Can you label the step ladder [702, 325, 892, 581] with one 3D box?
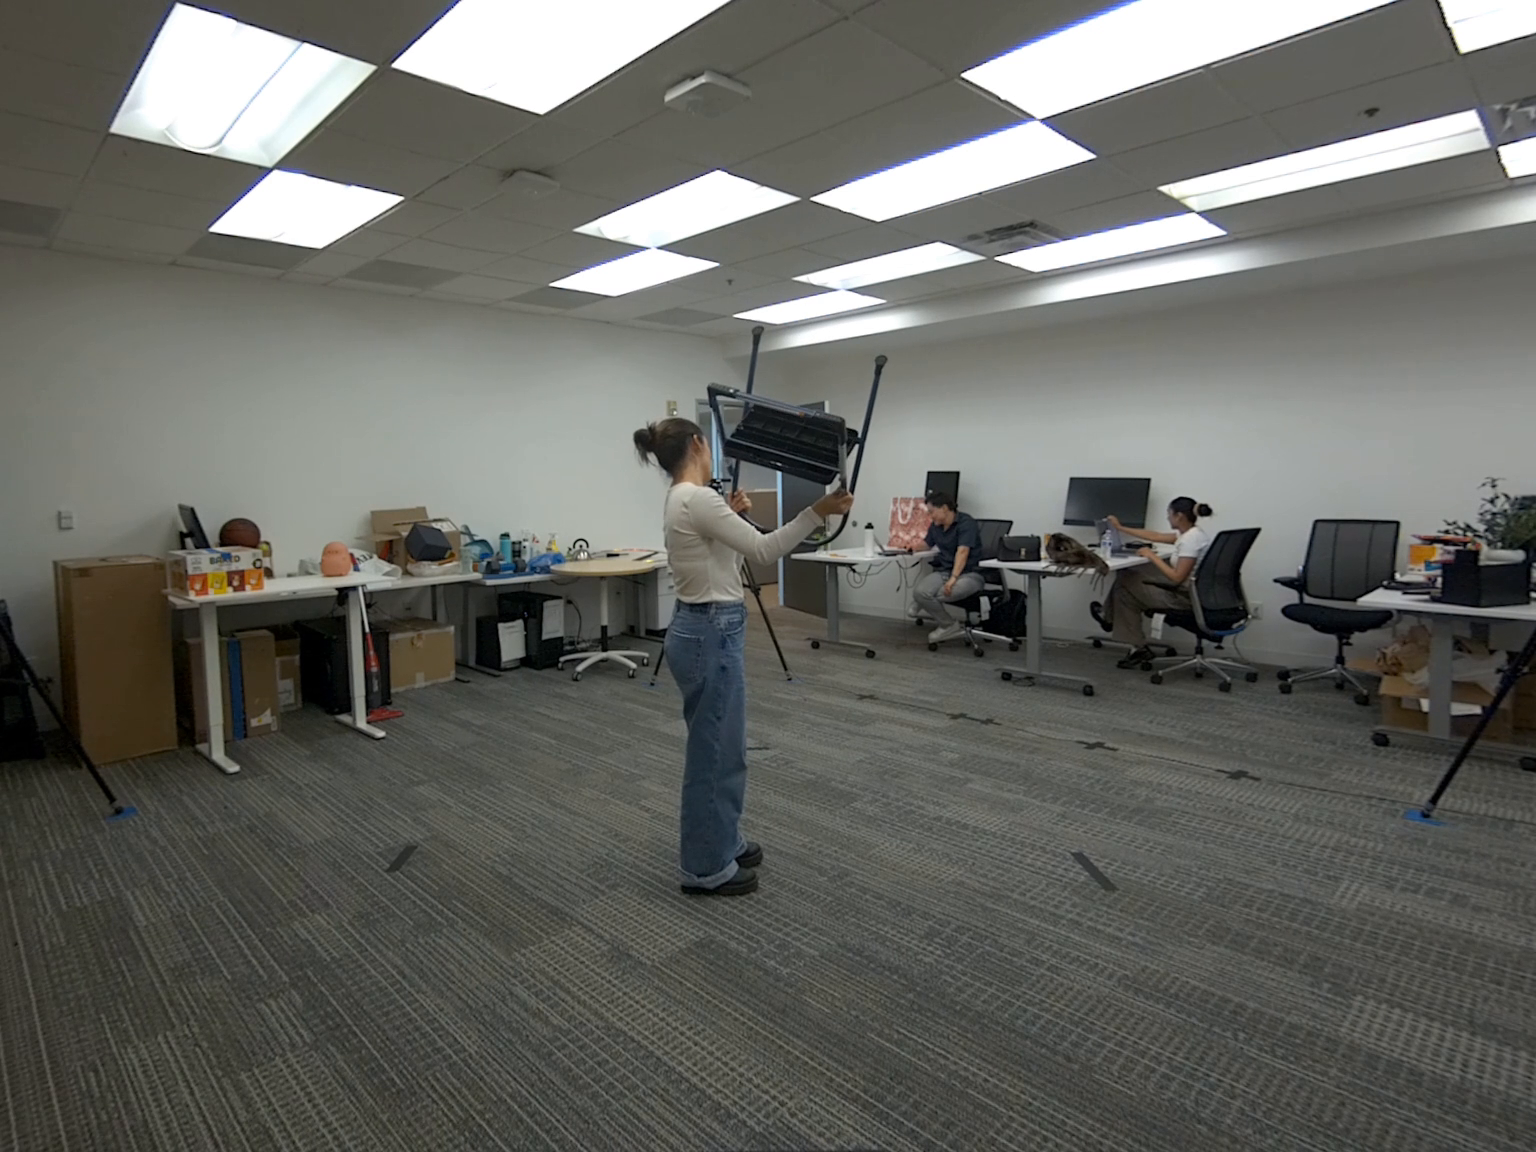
[{"bbox_3d":[0.086,-0.380,2.650,0.441,0.589,0.351,20,49,20],"label":"step ladder"}]
